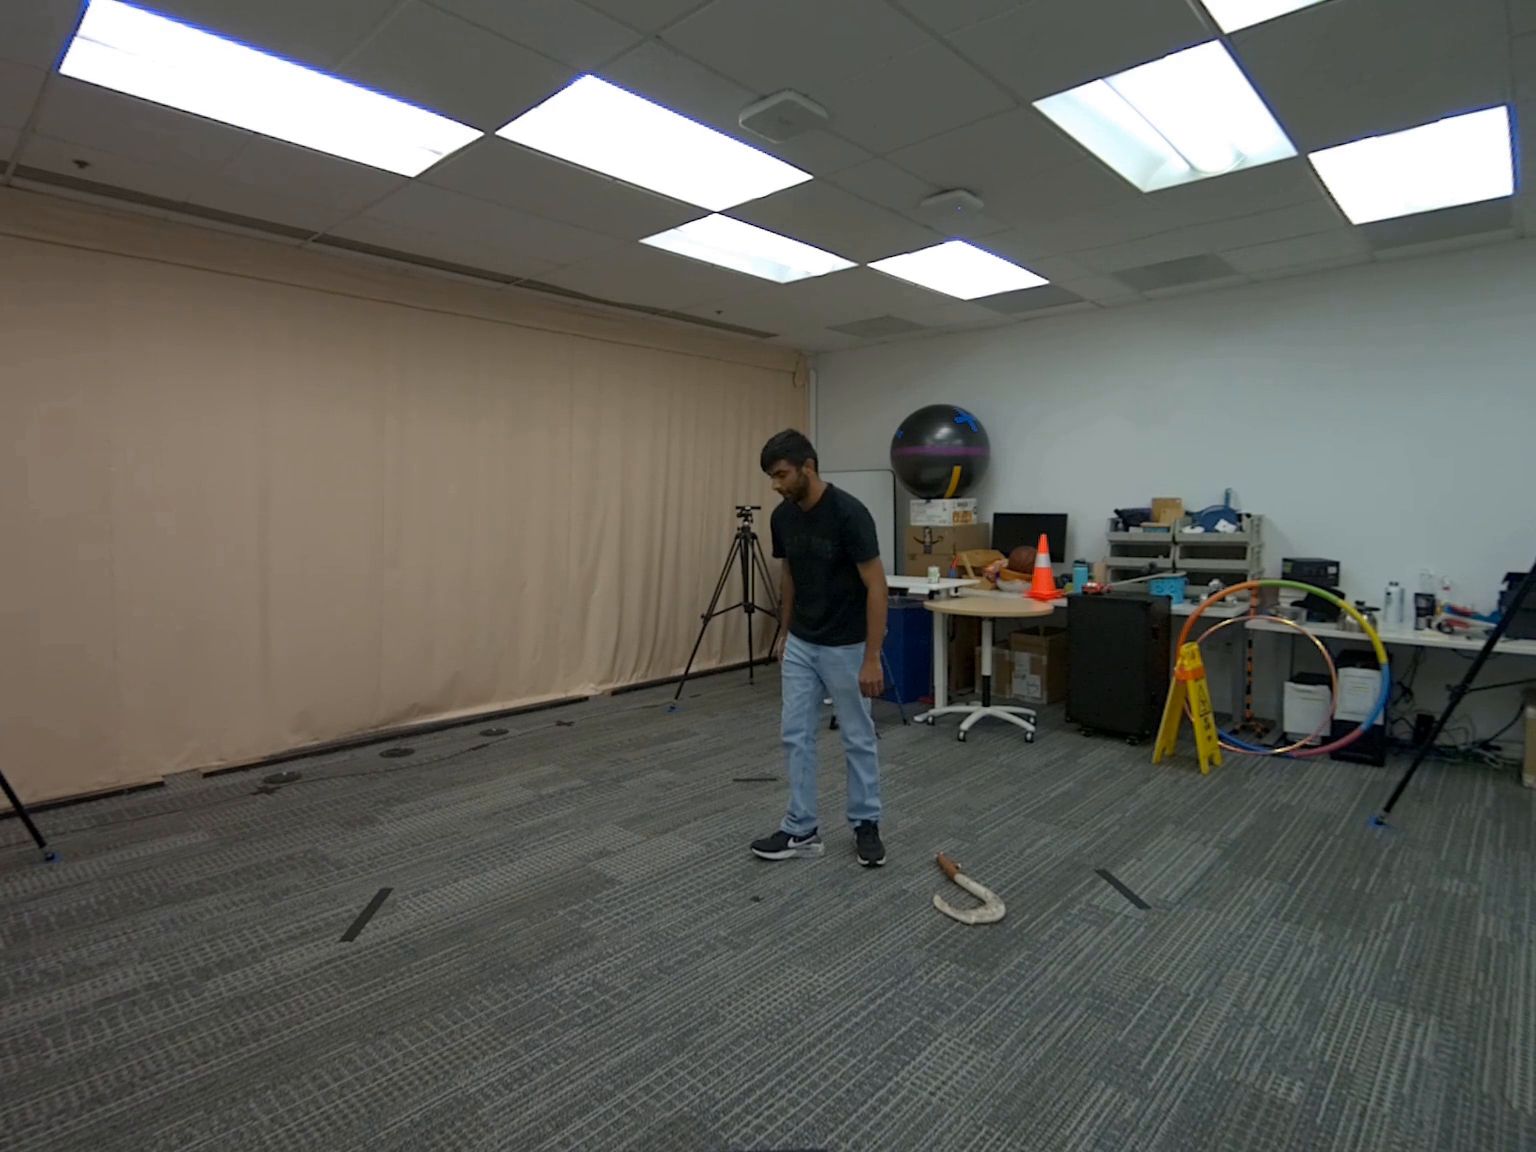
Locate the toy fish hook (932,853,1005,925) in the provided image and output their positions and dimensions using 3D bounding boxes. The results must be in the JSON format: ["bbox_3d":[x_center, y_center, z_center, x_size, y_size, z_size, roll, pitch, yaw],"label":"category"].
[{"bbox_3d":[0.670,1.115,3.034,0.222,0.048,0.513,0,4,-10],"label":"toy fish hook"}]
